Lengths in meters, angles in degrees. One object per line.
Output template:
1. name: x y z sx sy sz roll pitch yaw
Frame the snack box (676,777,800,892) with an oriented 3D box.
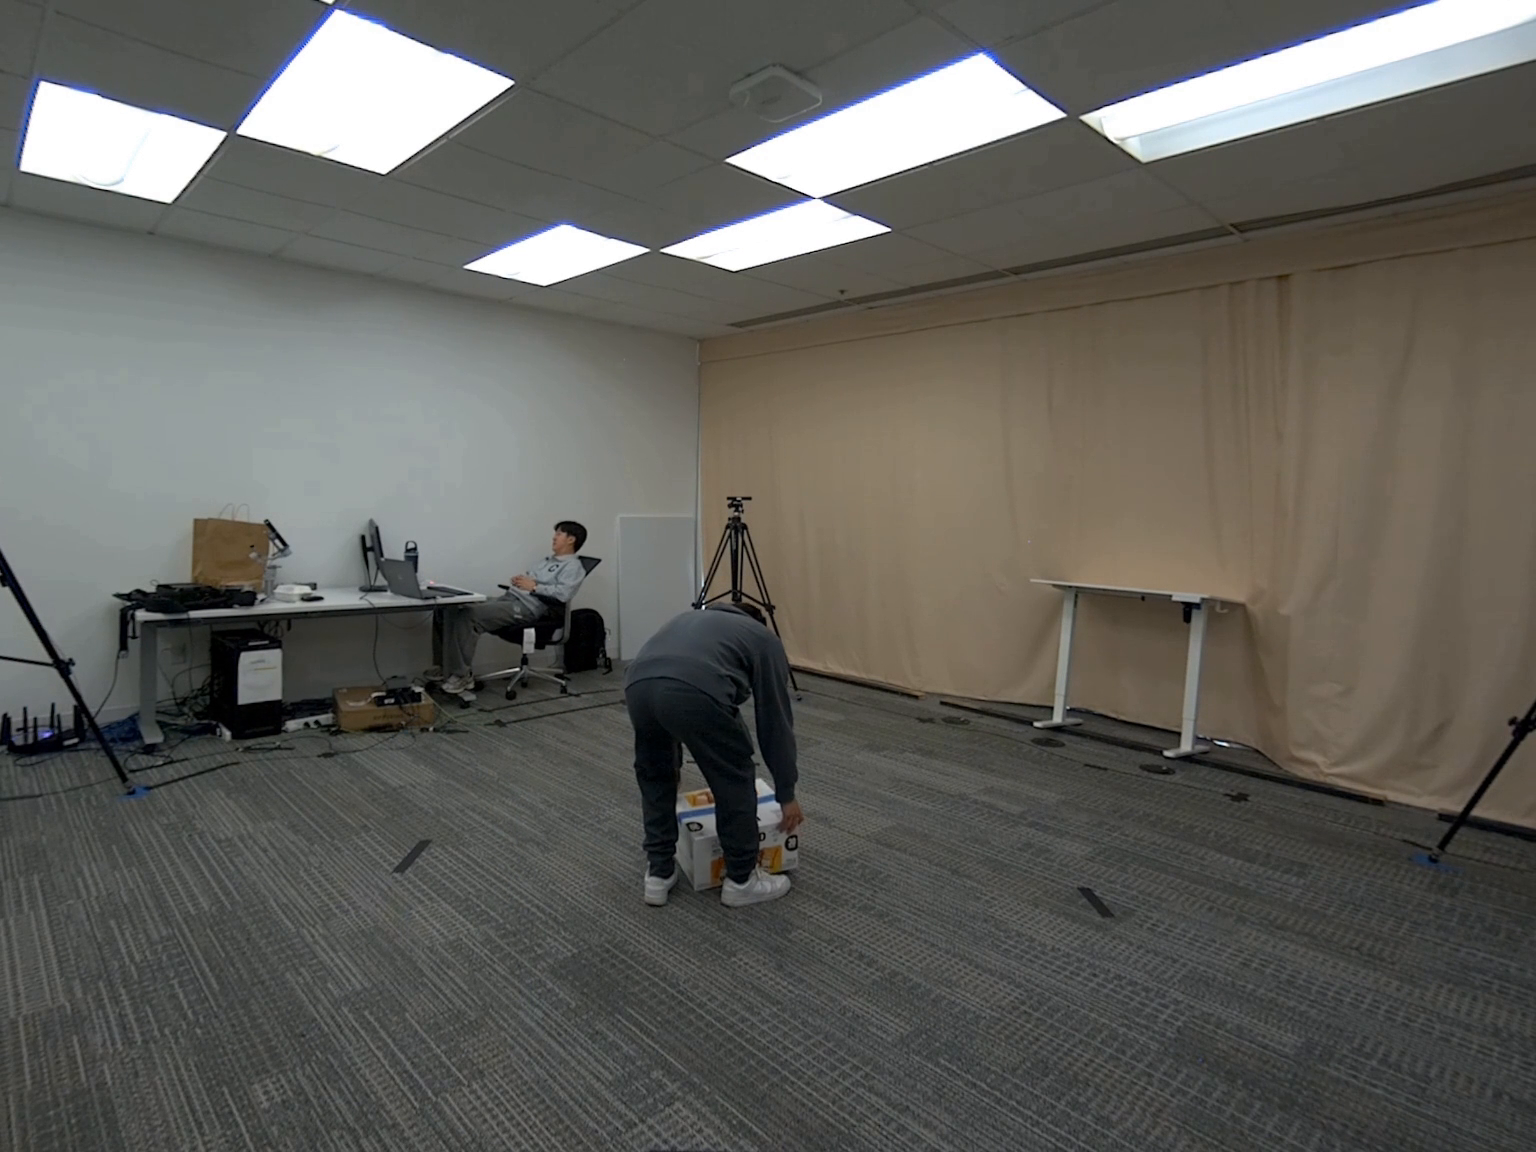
1. snack box: -0.147 0.960 3.177 0.399 0.204 0.348 -5 13 -22
